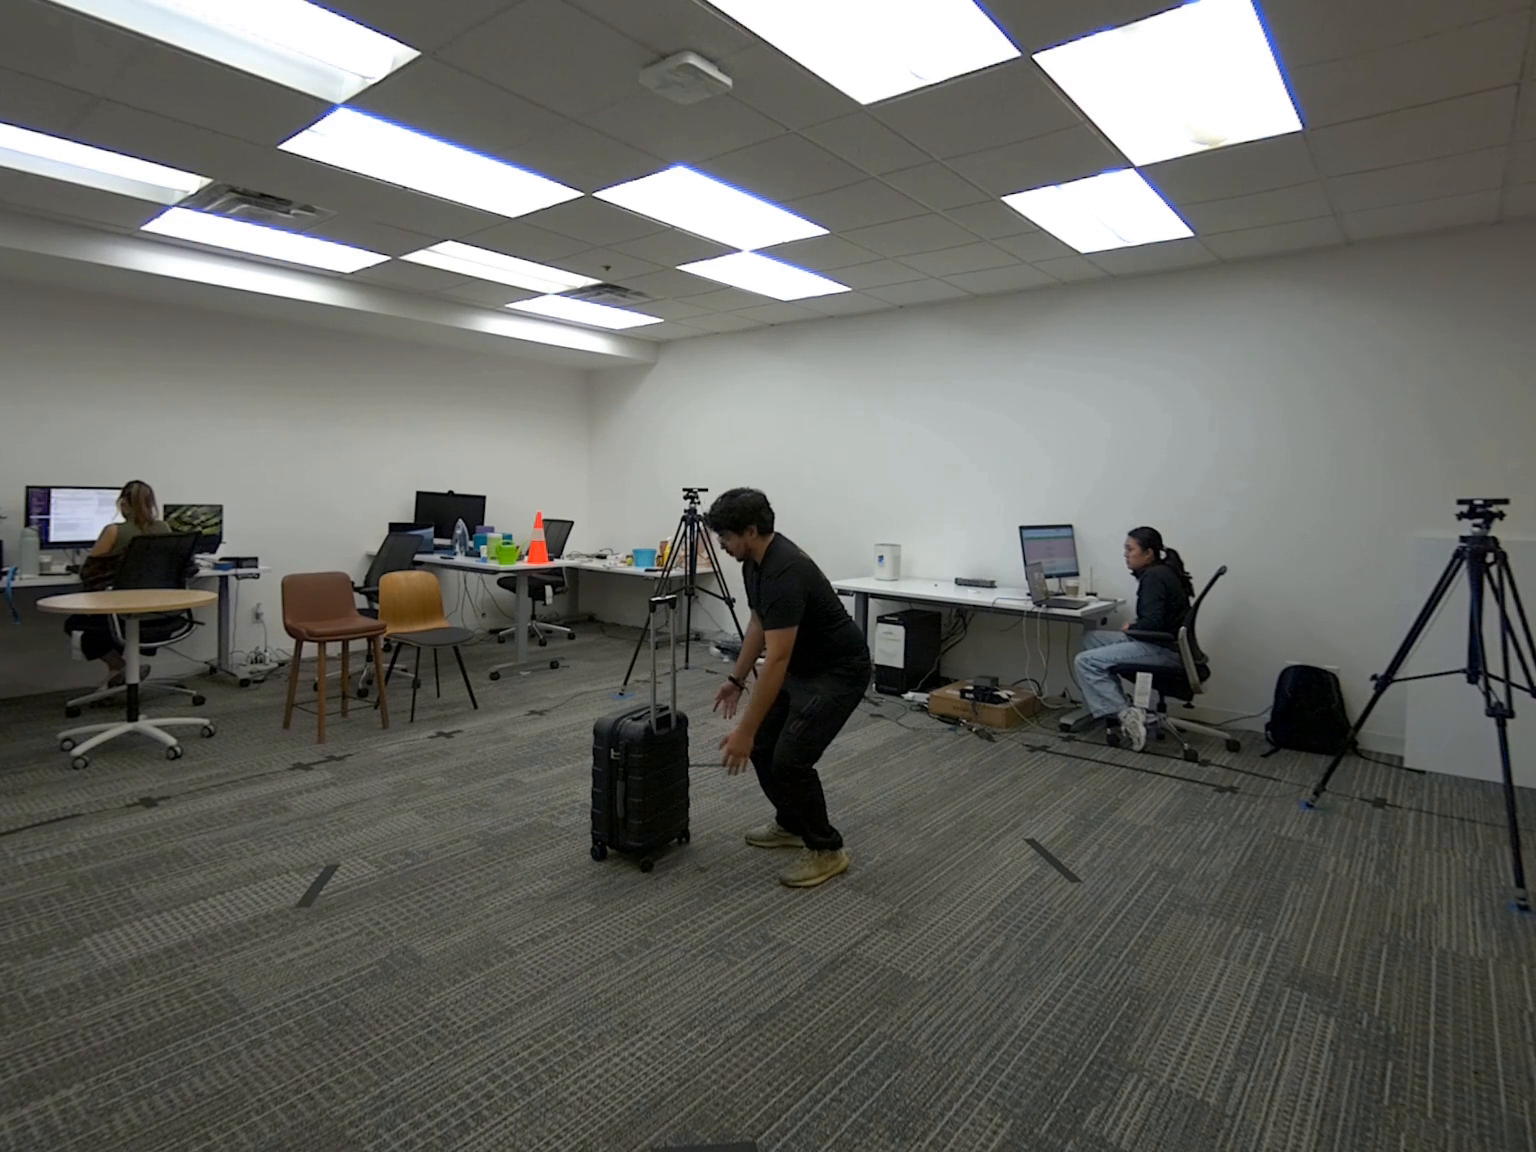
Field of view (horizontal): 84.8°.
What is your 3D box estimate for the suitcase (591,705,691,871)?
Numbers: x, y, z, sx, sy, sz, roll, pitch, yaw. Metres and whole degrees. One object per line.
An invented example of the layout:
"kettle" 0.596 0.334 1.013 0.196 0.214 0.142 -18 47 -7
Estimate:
"suitcase" -0.509 0.578 3.253 0.264 0.977 0.374 -1 2 29
